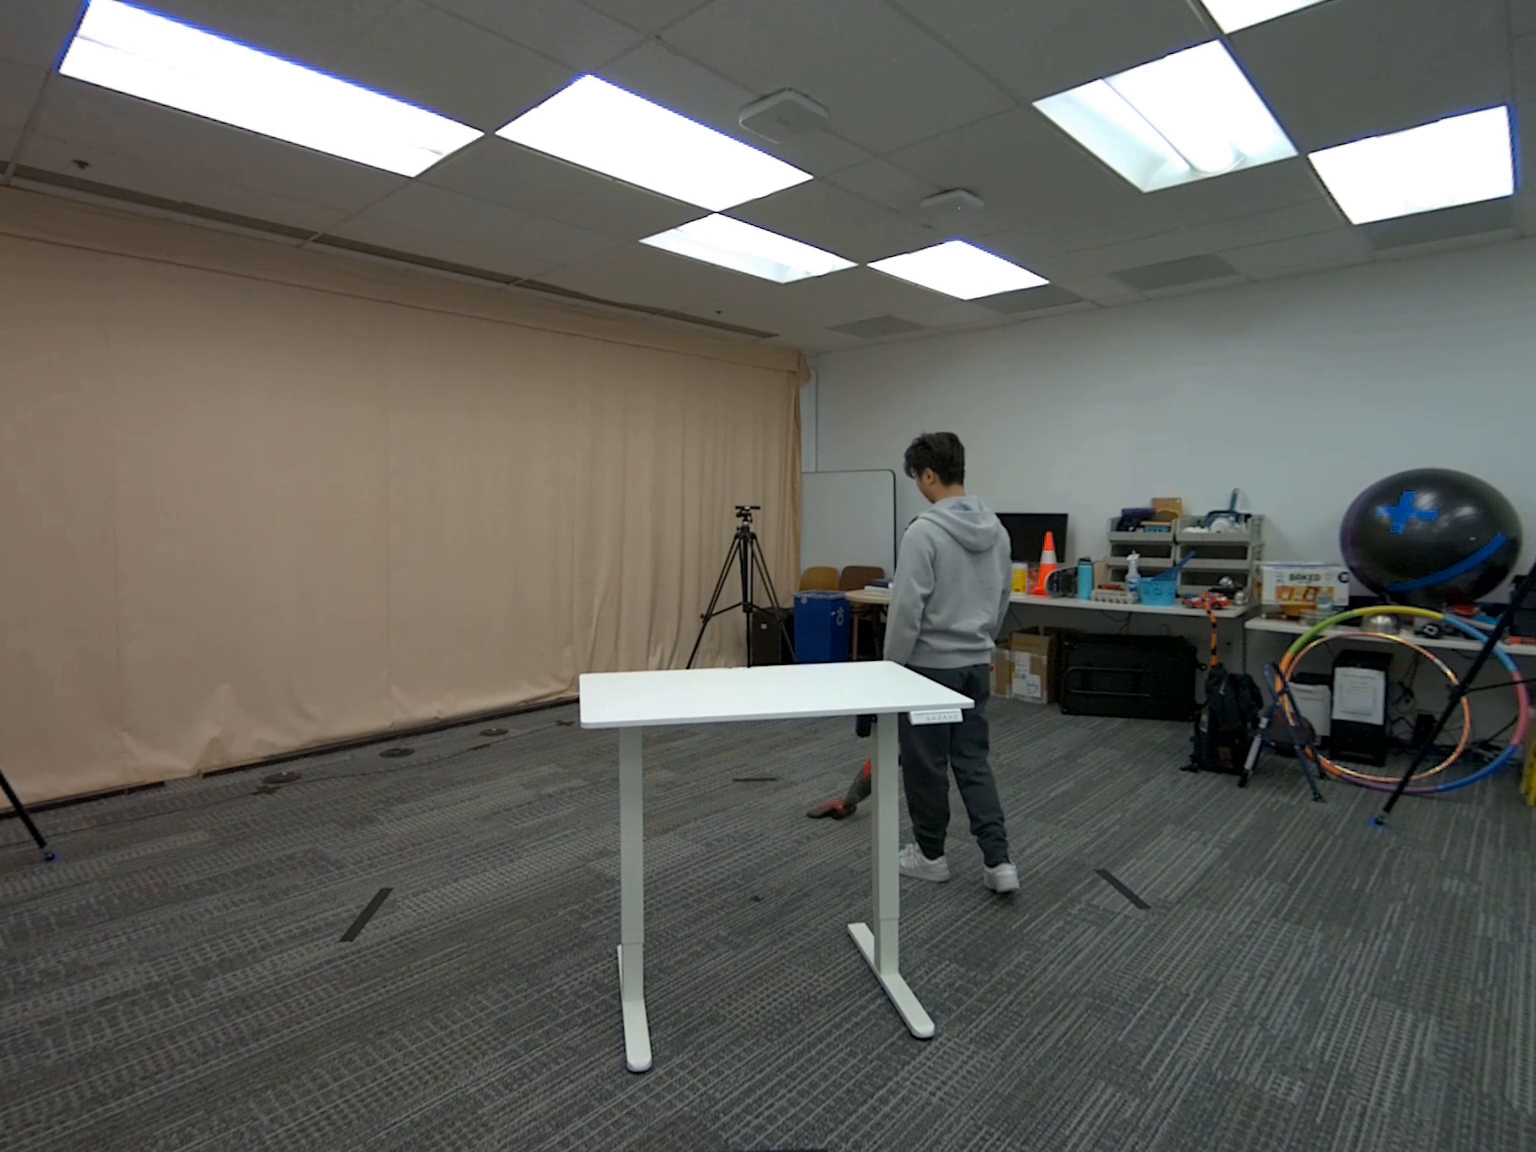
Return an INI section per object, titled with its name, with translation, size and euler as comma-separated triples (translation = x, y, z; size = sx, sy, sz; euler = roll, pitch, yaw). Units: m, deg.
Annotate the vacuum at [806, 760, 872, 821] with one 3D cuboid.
[vacuum]
translation = 0.573, 0.713, 3.559
size = 0.245, 0.148, 1.054
euler = -4, -39, -49
